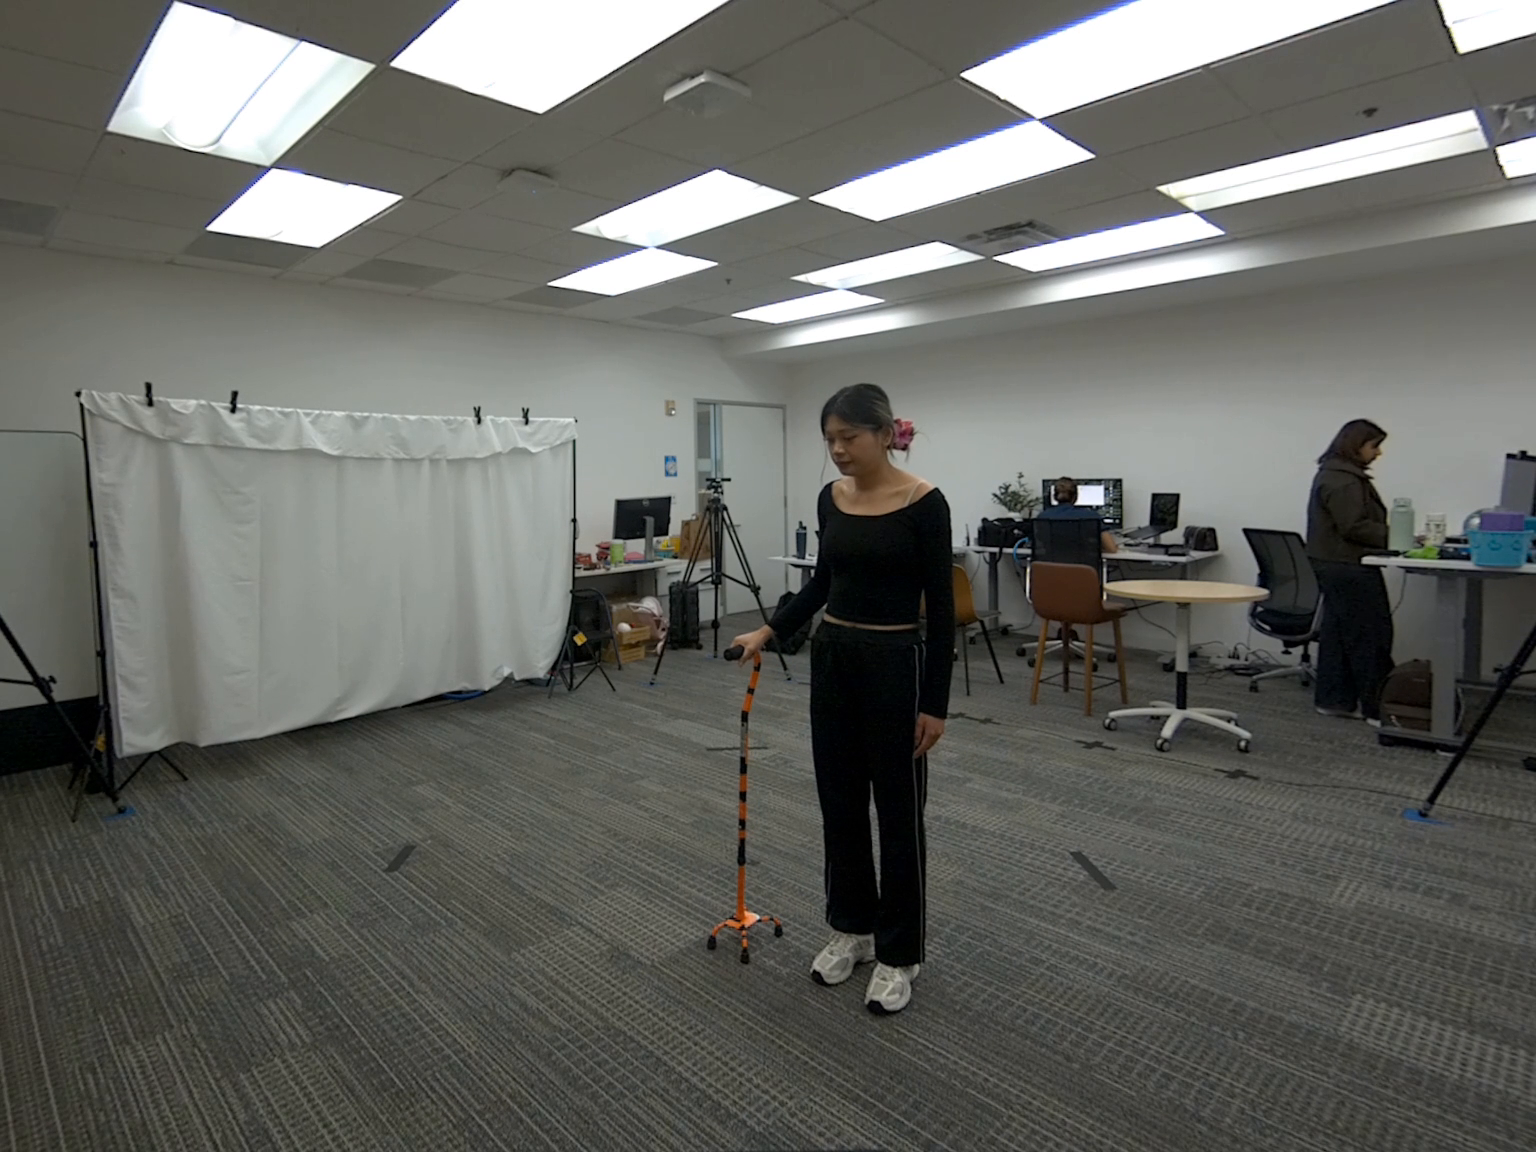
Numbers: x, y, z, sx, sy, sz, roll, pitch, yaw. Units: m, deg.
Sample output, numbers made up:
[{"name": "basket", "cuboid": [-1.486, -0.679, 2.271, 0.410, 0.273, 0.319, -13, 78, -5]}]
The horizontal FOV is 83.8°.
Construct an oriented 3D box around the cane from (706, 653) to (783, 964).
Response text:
[{"name": "cane", "cuboid": [-0.059, 0.651, 2.542, 0.156, 0.904, 0.201, 3, 5, 34]}]
